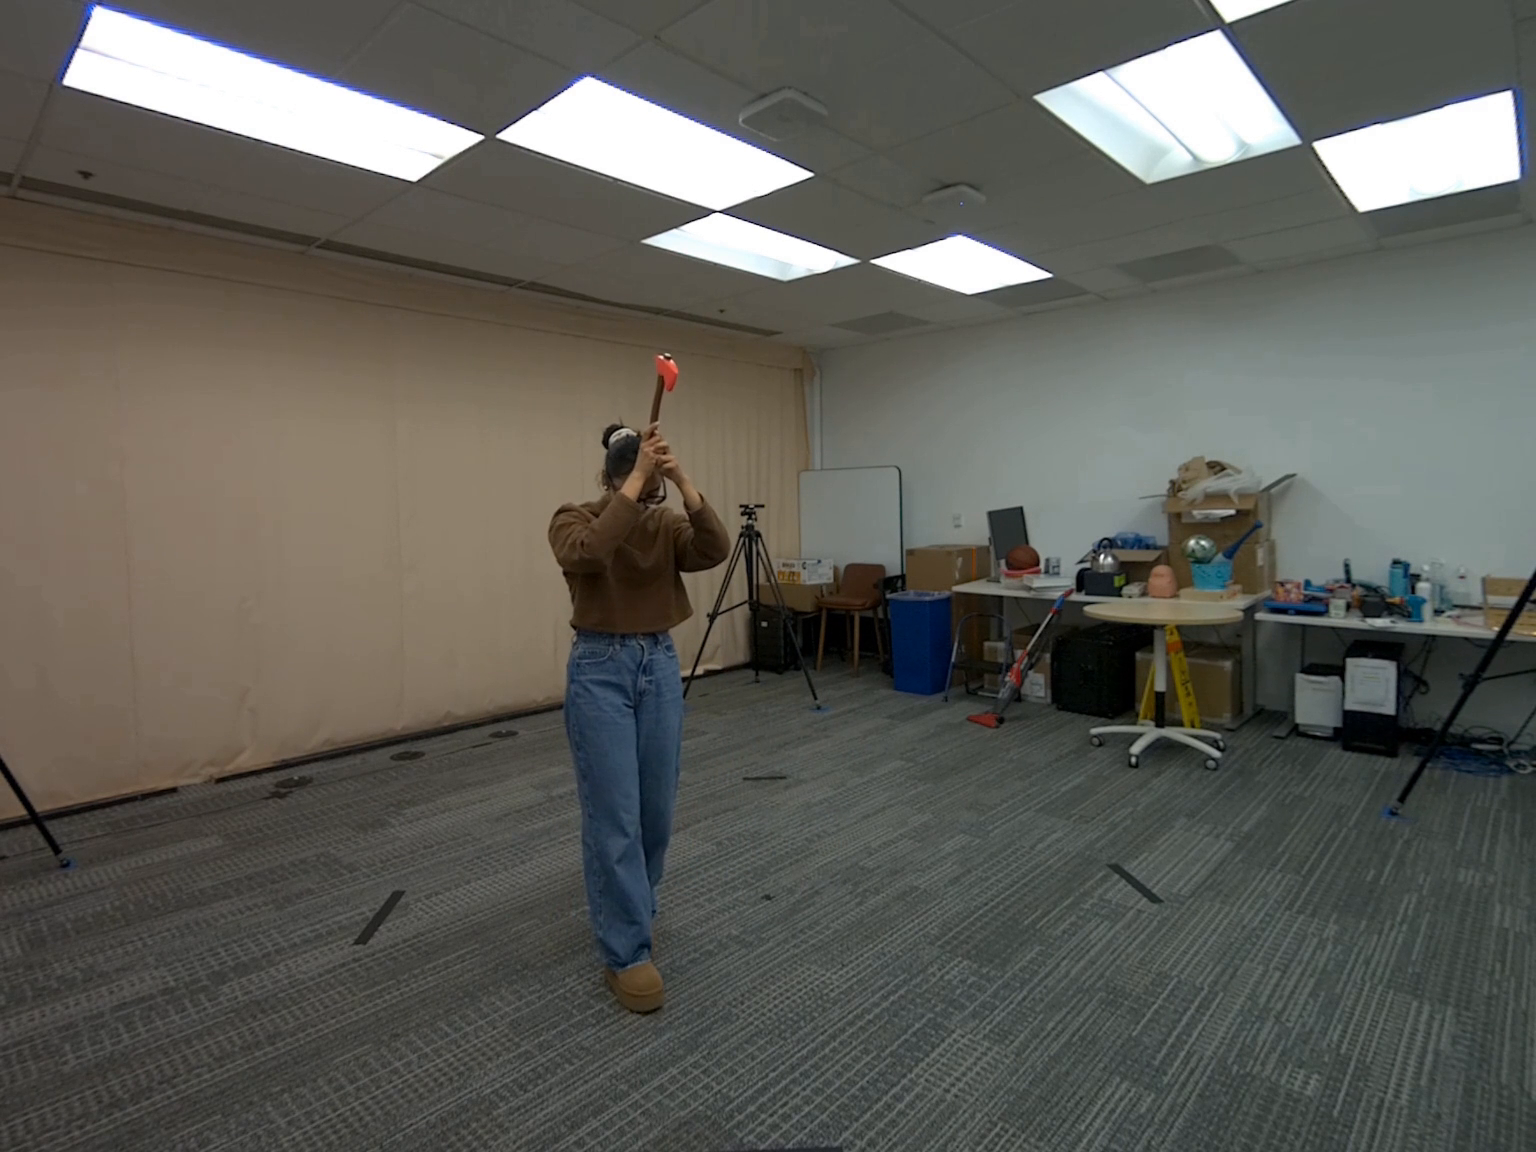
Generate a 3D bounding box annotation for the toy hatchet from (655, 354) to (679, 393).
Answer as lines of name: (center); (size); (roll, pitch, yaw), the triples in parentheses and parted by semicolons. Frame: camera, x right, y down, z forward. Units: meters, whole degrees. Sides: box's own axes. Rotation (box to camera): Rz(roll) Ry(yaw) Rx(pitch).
toy hatchet: (-0.272, -0.451, 2.213); (0.029, 0.269, 0.136); (0, 13, -36)
